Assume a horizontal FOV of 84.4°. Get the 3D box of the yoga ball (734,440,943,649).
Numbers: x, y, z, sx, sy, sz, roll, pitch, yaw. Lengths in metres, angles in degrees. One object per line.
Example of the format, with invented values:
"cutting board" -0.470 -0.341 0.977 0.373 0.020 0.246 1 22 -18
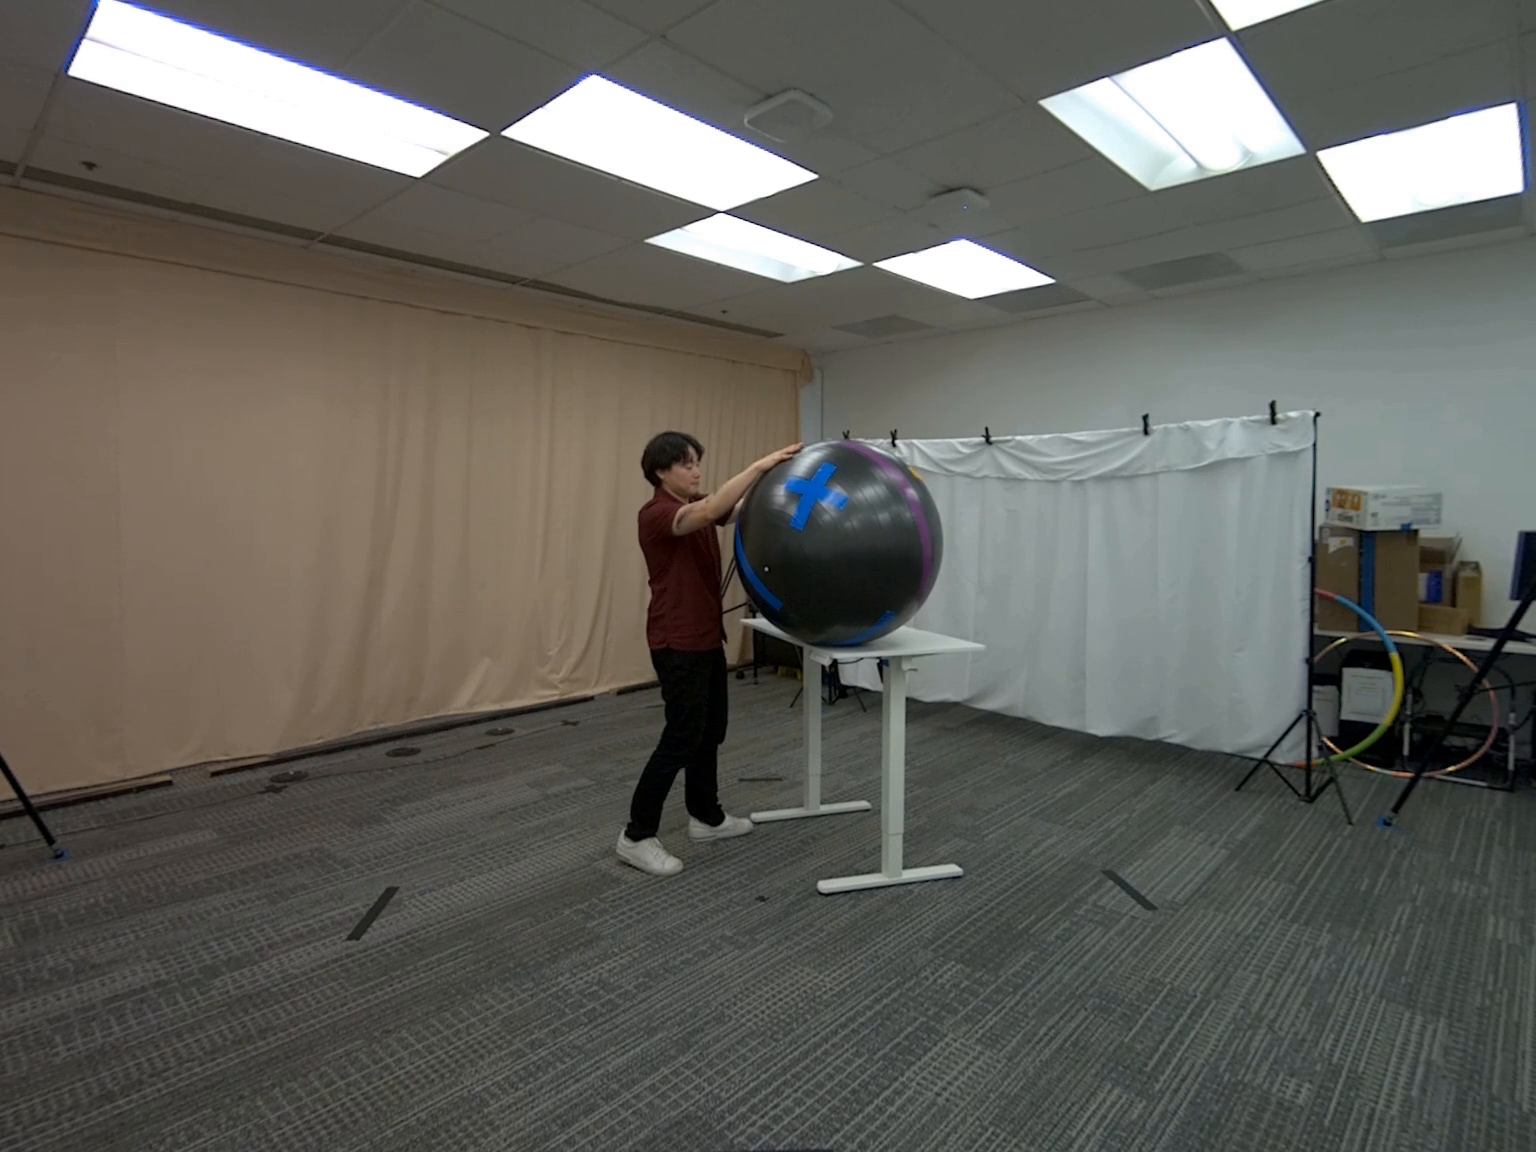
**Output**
"yoga ball" 0.260 -0.115 3.099 0.757 0.756 0.760 0 4 -2
